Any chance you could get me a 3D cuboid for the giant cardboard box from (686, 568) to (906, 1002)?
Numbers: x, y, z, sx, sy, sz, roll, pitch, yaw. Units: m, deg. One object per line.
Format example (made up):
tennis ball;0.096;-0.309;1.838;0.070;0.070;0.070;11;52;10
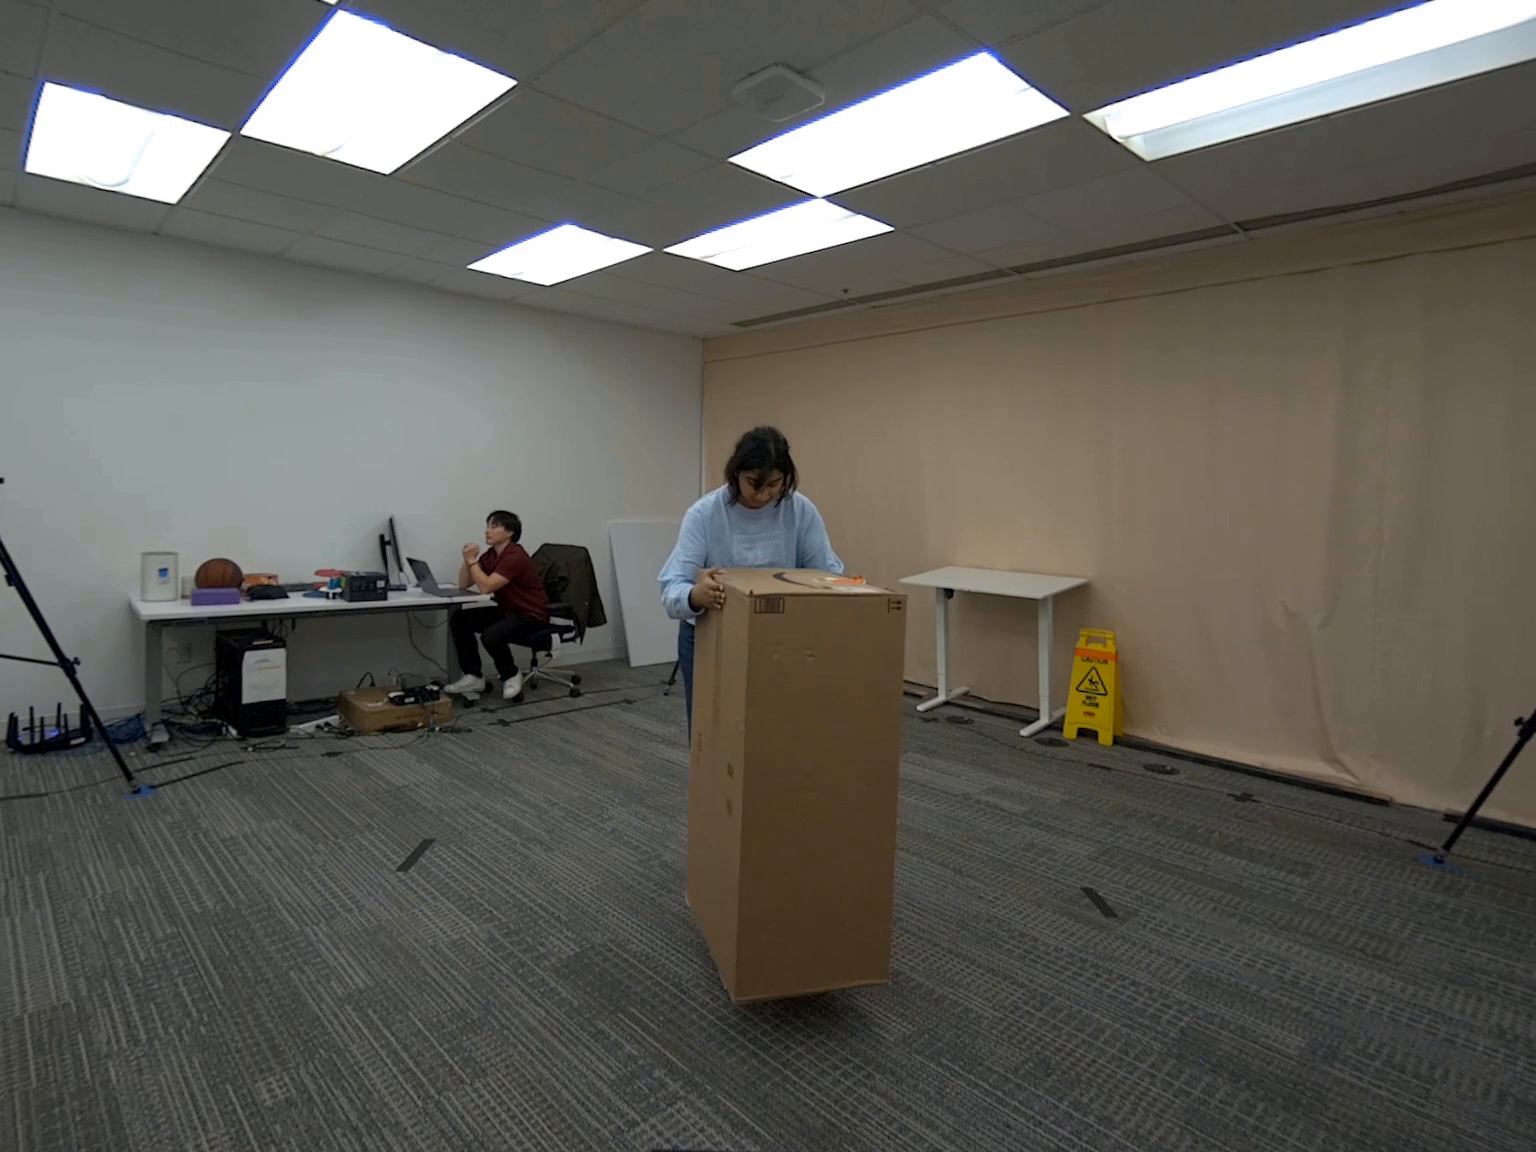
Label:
giant cardboard box;0.047;0.526;2.365;0.441;1.024;0.592;2;4;-16
